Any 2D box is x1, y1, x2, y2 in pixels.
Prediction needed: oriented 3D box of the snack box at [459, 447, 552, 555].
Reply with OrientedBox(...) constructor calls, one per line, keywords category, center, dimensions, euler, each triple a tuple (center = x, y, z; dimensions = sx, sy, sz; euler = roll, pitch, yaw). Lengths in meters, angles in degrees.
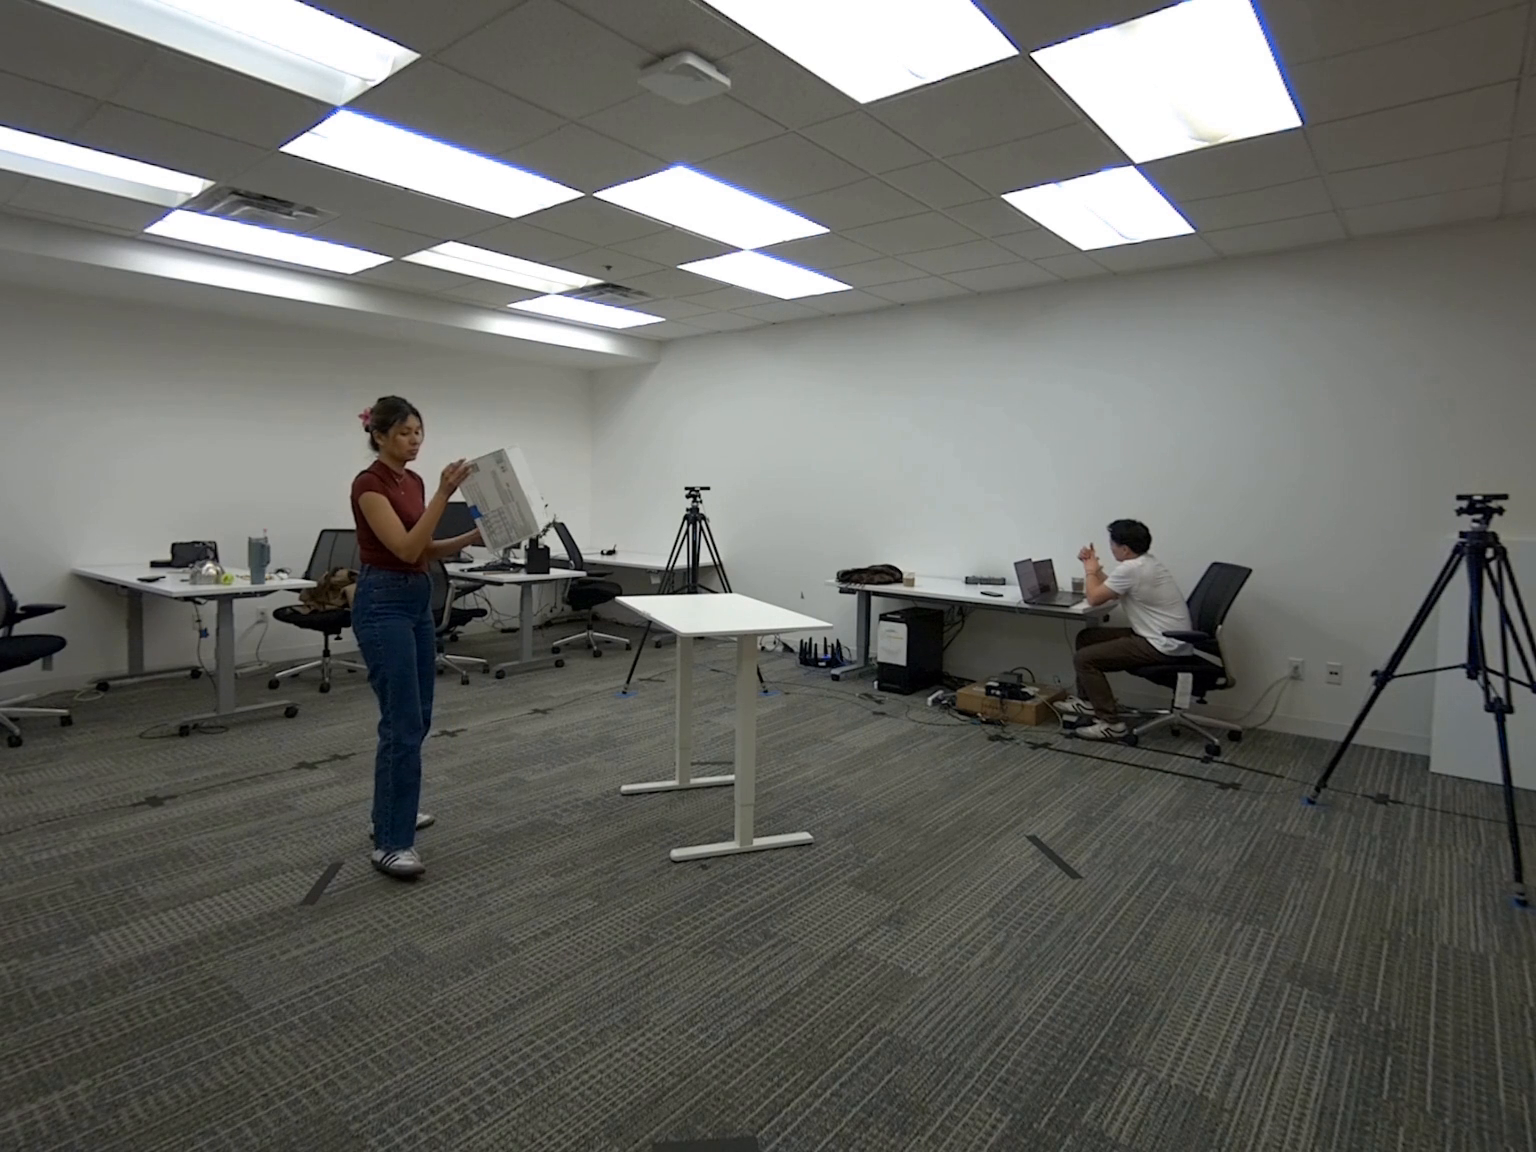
OrientedBox(category="snack box", center=(-1.029, -0.307, 3.256), dimensions=(0.205, 0.336, 0.412), euler=(-22, 12, -4))
